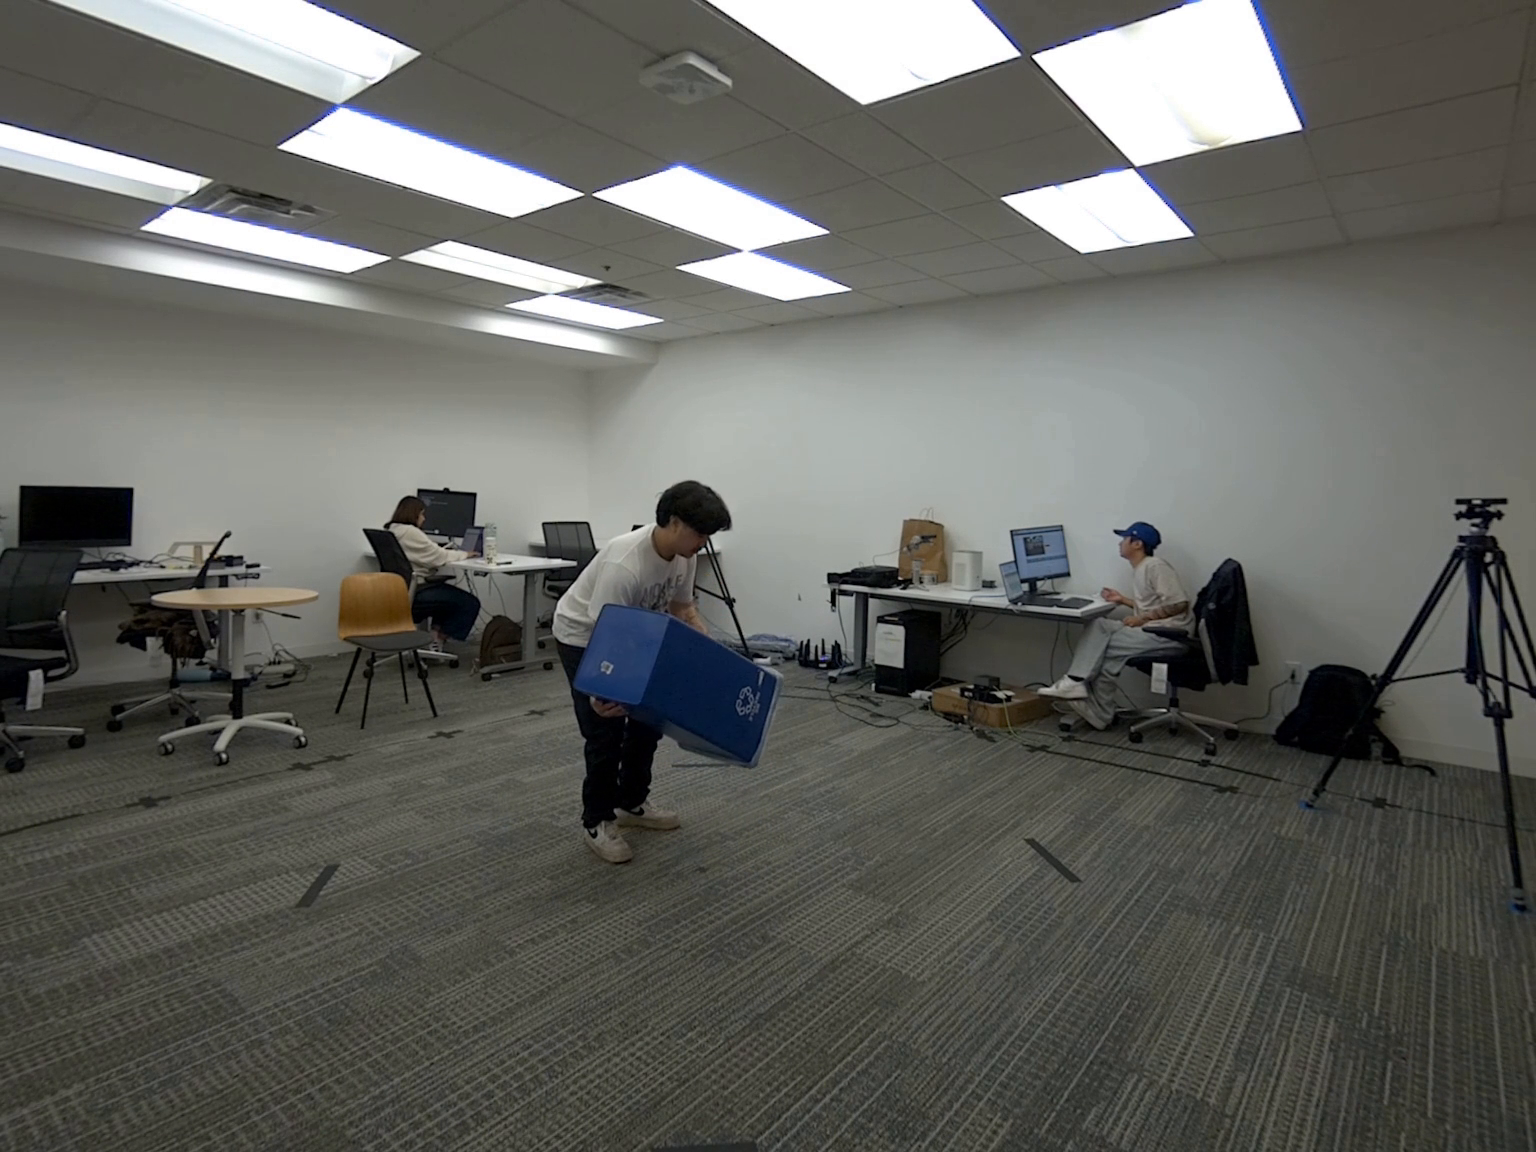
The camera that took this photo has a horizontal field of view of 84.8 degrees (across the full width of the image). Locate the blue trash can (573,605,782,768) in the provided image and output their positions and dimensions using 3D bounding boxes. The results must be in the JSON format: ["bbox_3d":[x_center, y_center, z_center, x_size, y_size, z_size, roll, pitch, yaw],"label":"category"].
[{"bbox_3d":[-0.322,0.385,2.991,0.391,0.377,0.684,8,-19,35],"label":"blue trash can"}]
